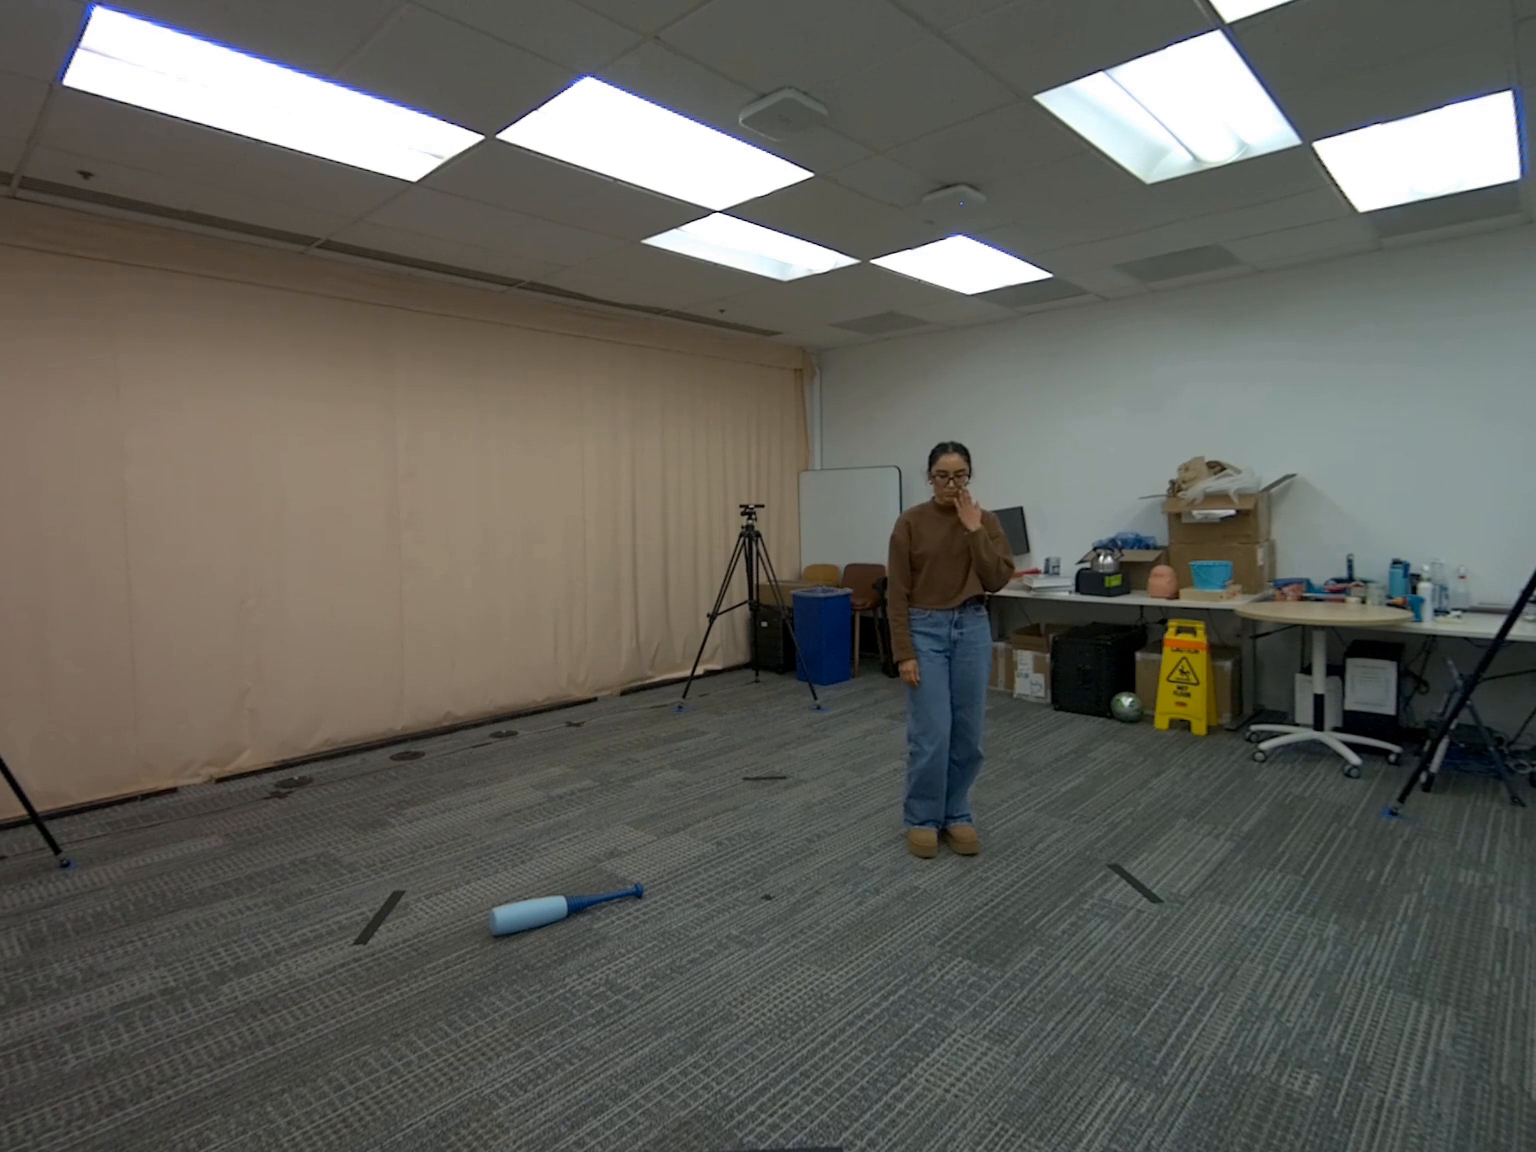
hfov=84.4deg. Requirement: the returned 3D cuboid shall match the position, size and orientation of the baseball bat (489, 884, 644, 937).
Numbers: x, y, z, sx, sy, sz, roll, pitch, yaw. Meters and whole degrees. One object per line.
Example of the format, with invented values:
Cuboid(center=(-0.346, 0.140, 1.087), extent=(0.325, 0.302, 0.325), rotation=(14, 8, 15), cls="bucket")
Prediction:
Cuboid(center=(-0.680, 1.133, 2.874), extent=(0.528, 0.089, 0.091), rotation=(0, 3, -30), cls="baseball bat")
